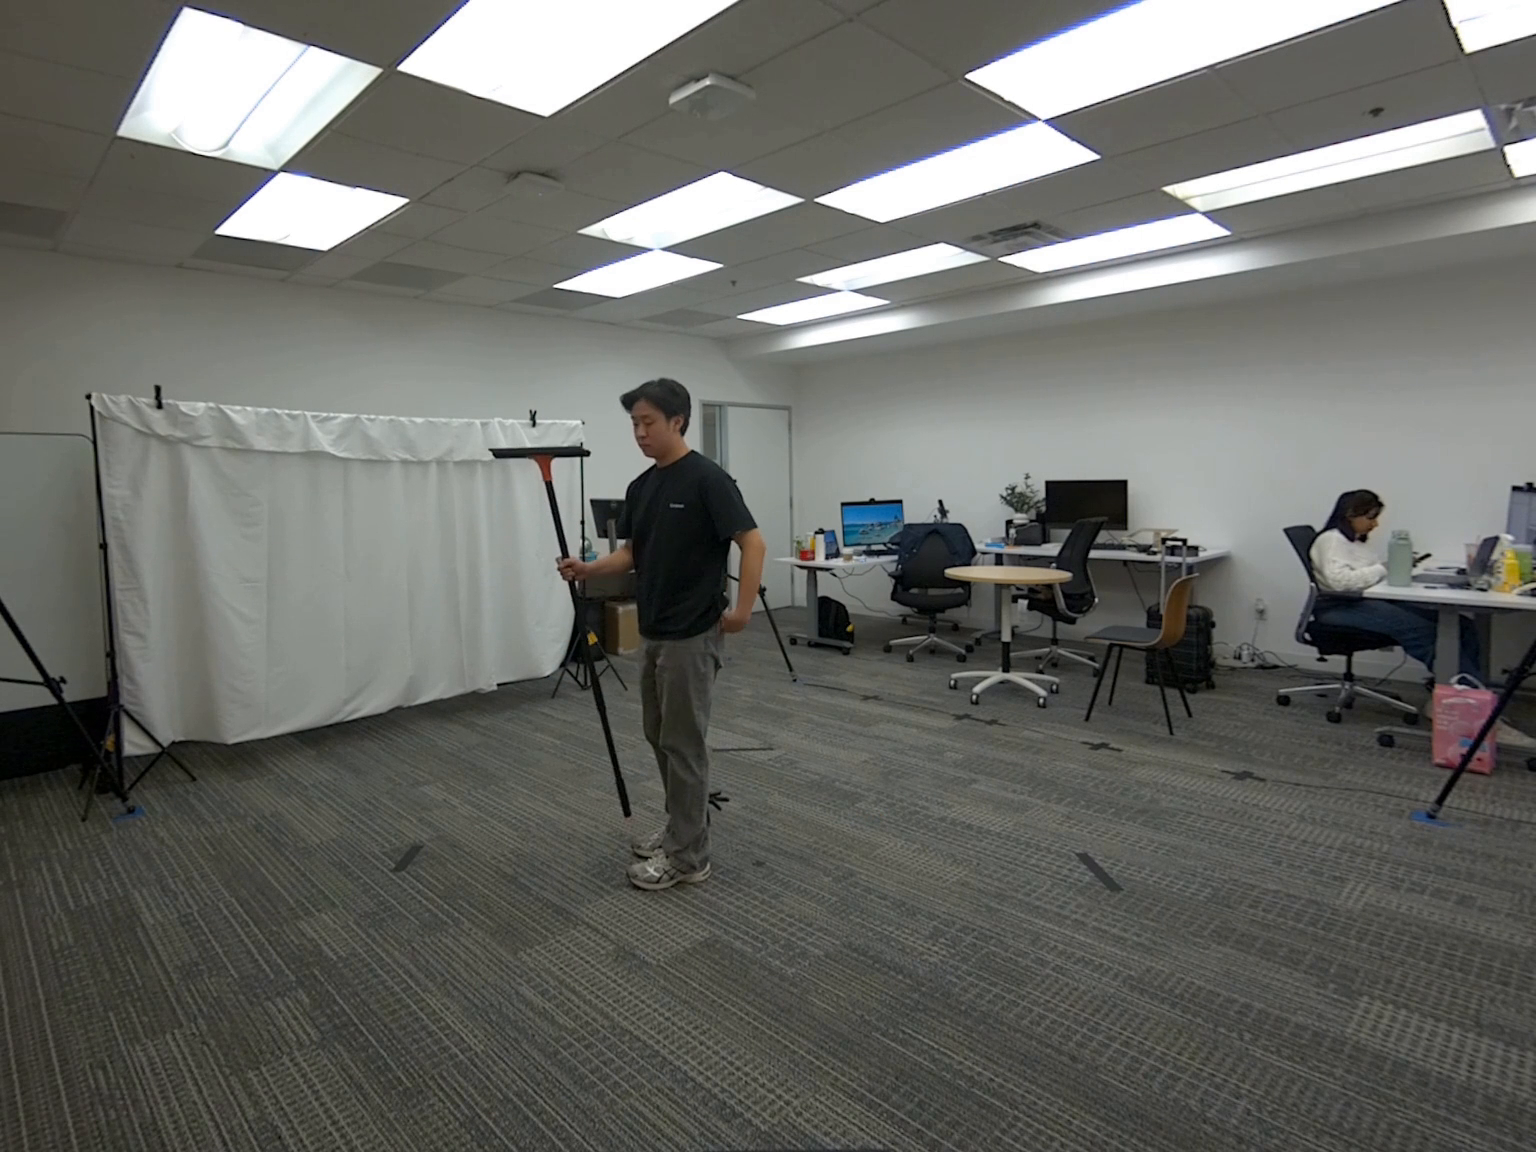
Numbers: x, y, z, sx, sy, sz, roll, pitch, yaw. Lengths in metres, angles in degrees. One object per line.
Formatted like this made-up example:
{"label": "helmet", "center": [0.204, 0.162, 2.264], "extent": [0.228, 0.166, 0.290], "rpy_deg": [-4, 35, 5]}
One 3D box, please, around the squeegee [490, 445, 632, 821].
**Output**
{"label": "squeegee", "center": [-0.668, 0.261, 3.144], "extent": [0.450, 1.506, 0.052], "rpy_deg": [4, 24, 33]}
